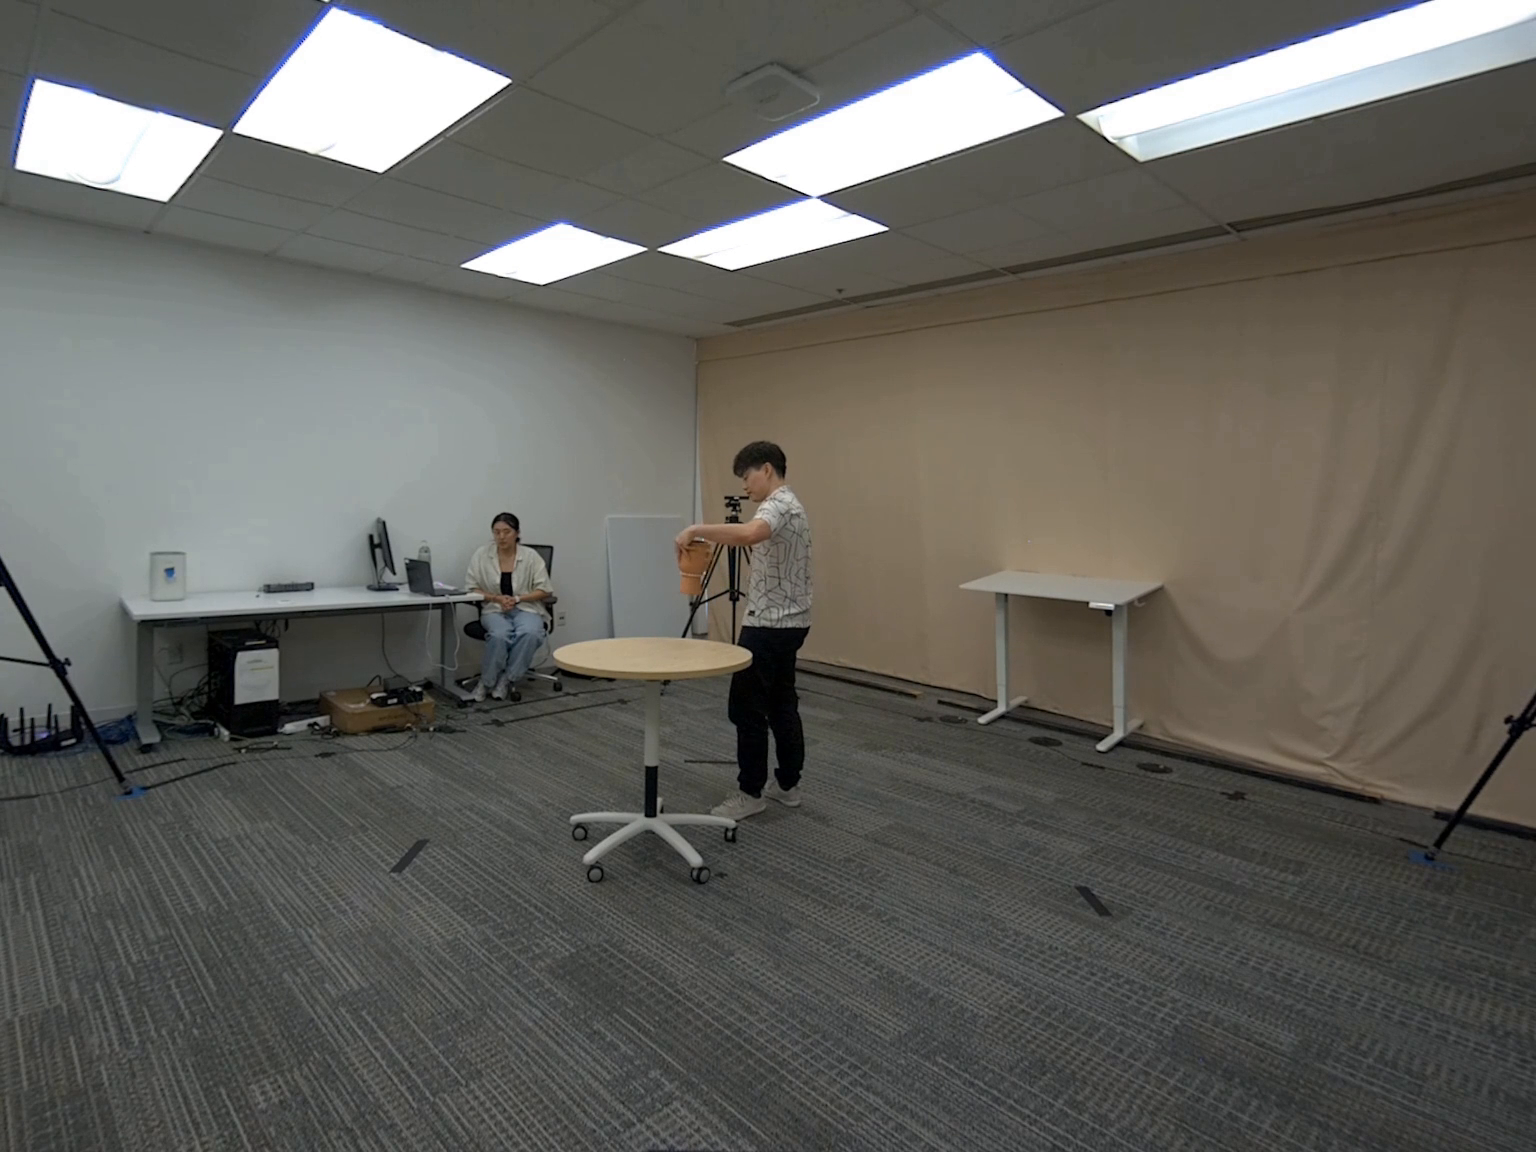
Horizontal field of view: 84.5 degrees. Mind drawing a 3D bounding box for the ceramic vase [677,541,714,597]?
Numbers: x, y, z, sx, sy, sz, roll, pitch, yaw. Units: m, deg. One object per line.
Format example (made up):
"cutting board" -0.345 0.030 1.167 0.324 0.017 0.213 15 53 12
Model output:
"ceramic vase" -0.326 -0.037 3.535 0.133 0.219 0.162 3 6 -18
